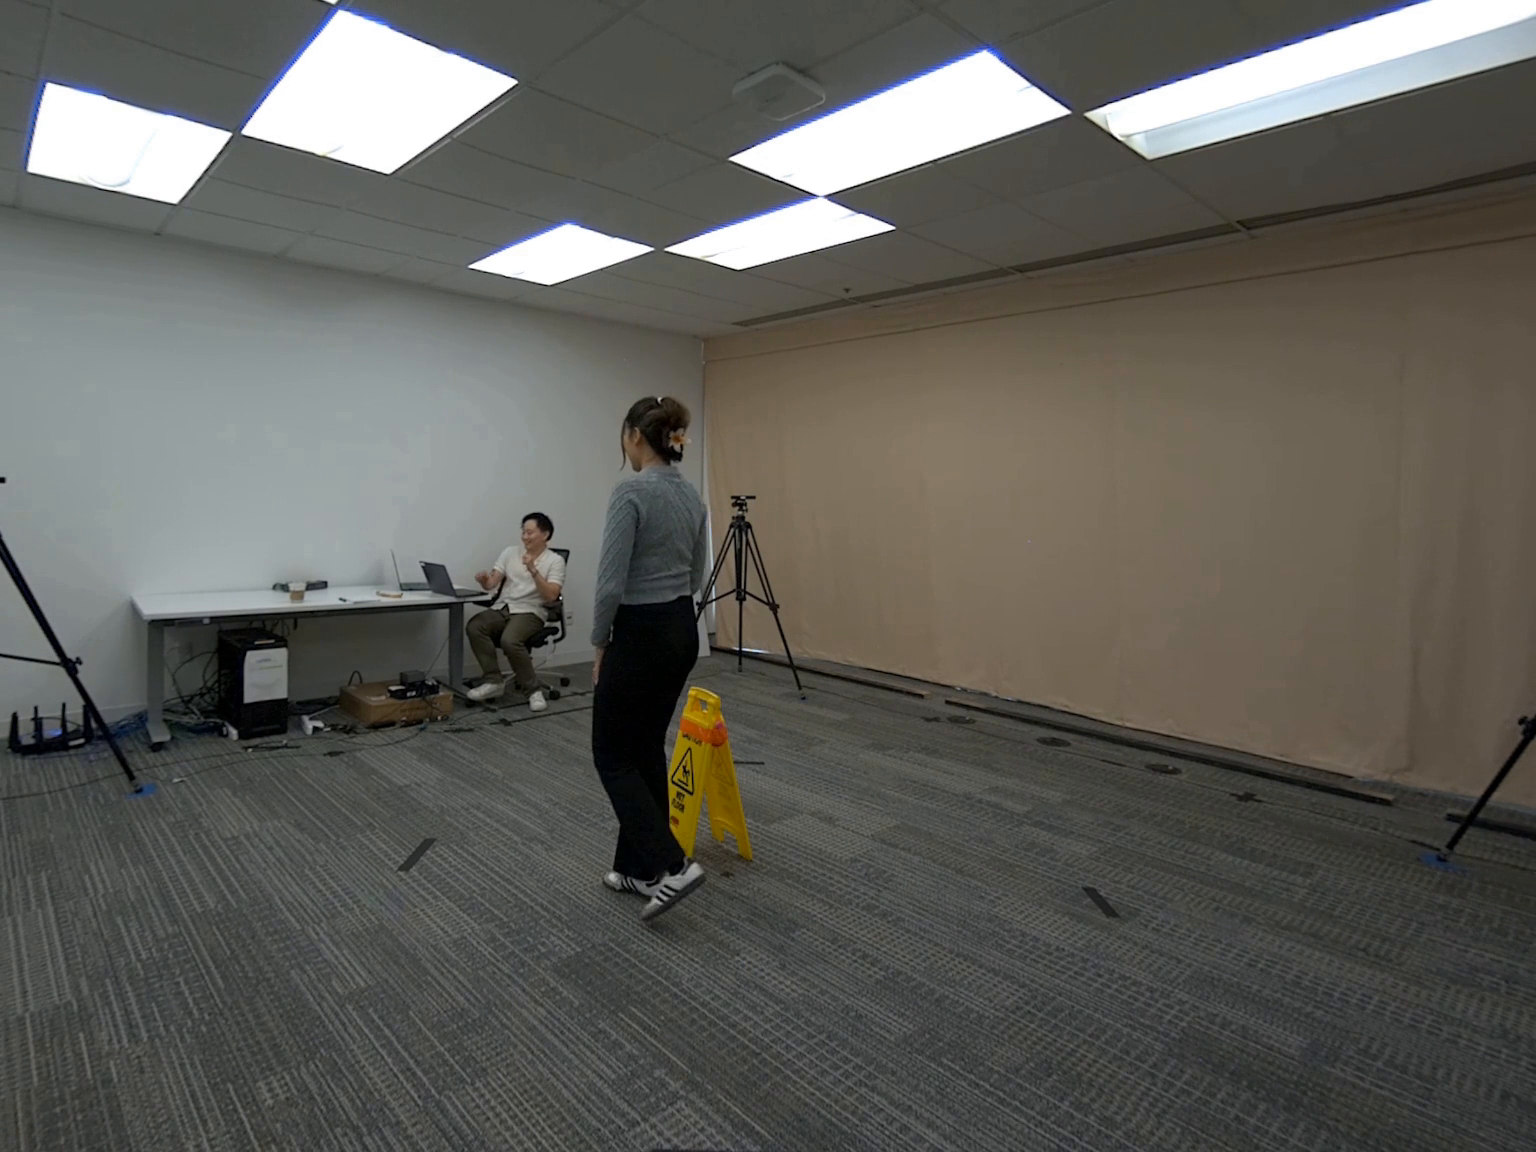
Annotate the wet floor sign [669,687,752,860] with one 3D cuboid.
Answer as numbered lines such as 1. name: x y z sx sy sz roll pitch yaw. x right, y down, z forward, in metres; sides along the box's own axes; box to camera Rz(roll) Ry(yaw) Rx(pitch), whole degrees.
1. wet floor sign: -0.257 0.764 3.251 0.283 0.644 0.289 0 4 -34
